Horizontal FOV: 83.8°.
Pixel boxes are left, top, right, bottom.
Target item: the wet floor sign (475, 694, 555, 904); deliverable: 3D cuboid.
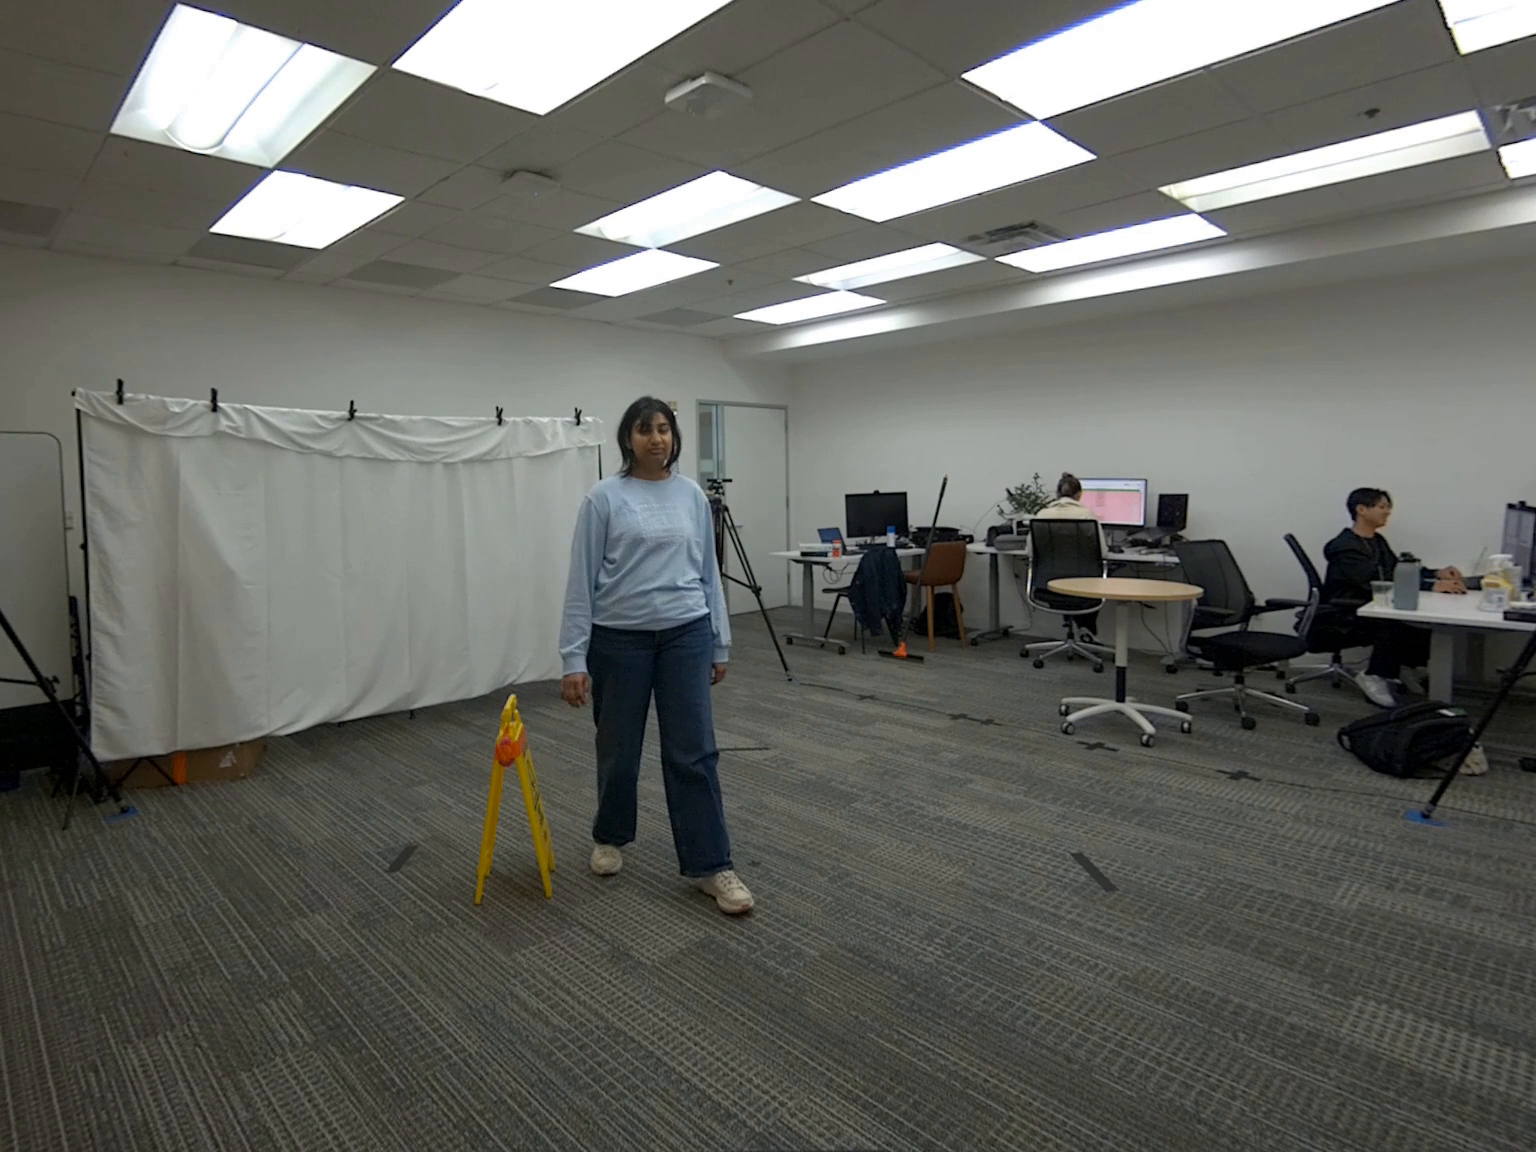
[{"bbox_3d":[-0.880,0.750,2.969,0.287,0.643,0.286,-2,6,-8],"label":"wet floor sign"}]
